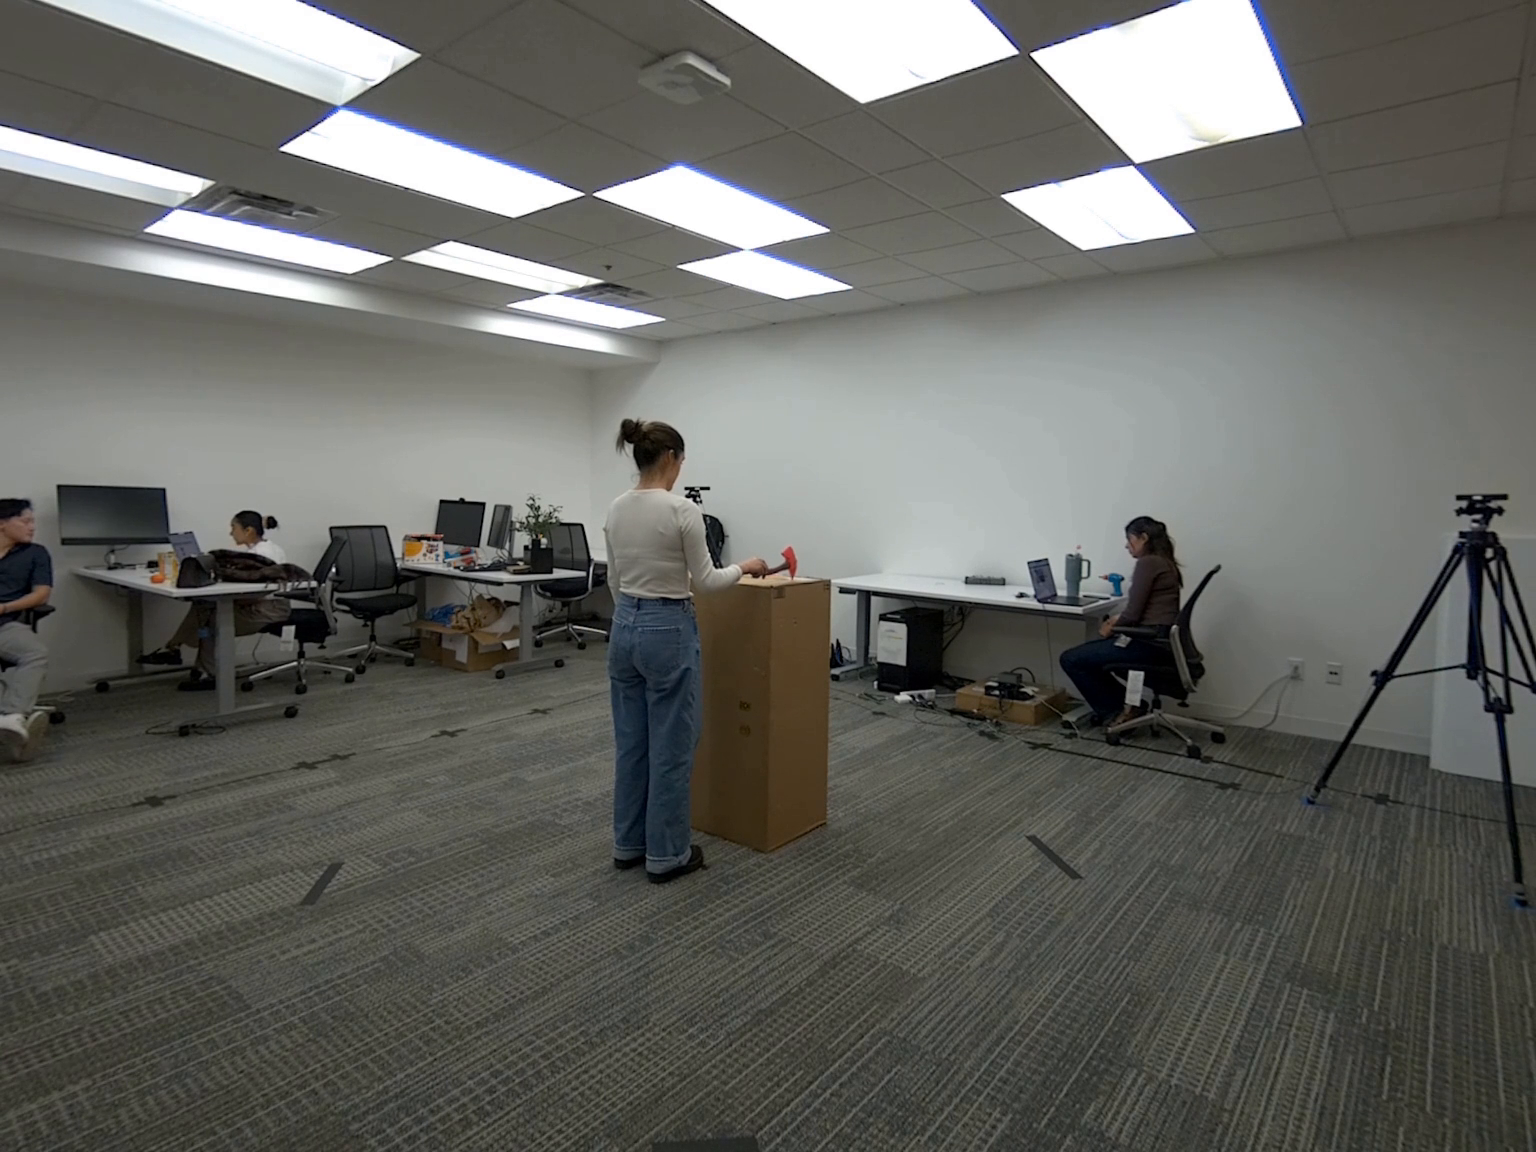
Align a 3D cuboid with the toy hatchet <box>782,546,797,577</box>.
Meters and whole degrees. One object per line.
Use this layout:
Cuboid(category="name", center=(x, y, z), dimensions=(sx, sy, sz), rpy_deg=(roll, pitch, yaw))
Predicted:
Cuboid(category="toy hatchet", center=(0.022, -0.064, 3.301), dimensions=(0.030, 0.131, 0.261), rpy_deg=(6, 2, 41))
